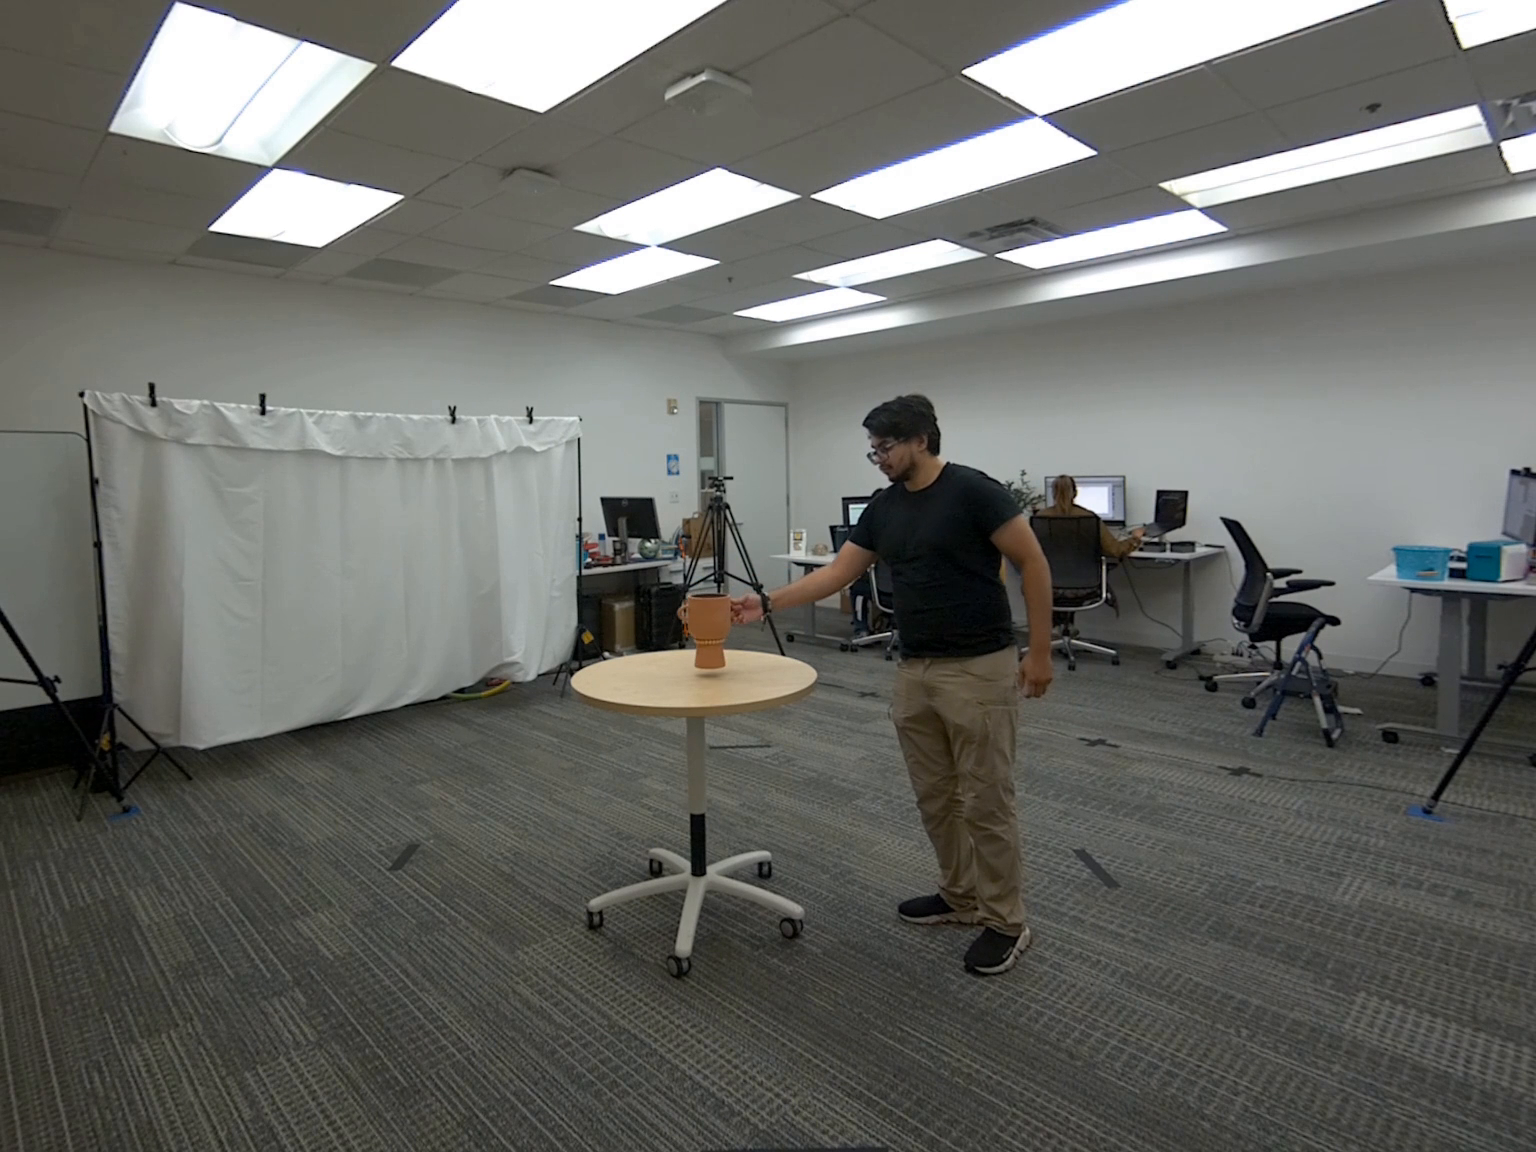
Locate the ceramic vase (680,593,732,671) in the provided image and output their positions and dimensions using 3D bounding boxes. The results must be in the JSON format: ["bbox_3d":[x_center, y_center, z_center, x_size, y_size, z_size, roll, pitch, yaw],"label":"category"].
[{"bbox_3d":[-0.178,0.162,2.673,0.163,0.220,0.131,0,1,31],"label":"ceramic vase"}]
